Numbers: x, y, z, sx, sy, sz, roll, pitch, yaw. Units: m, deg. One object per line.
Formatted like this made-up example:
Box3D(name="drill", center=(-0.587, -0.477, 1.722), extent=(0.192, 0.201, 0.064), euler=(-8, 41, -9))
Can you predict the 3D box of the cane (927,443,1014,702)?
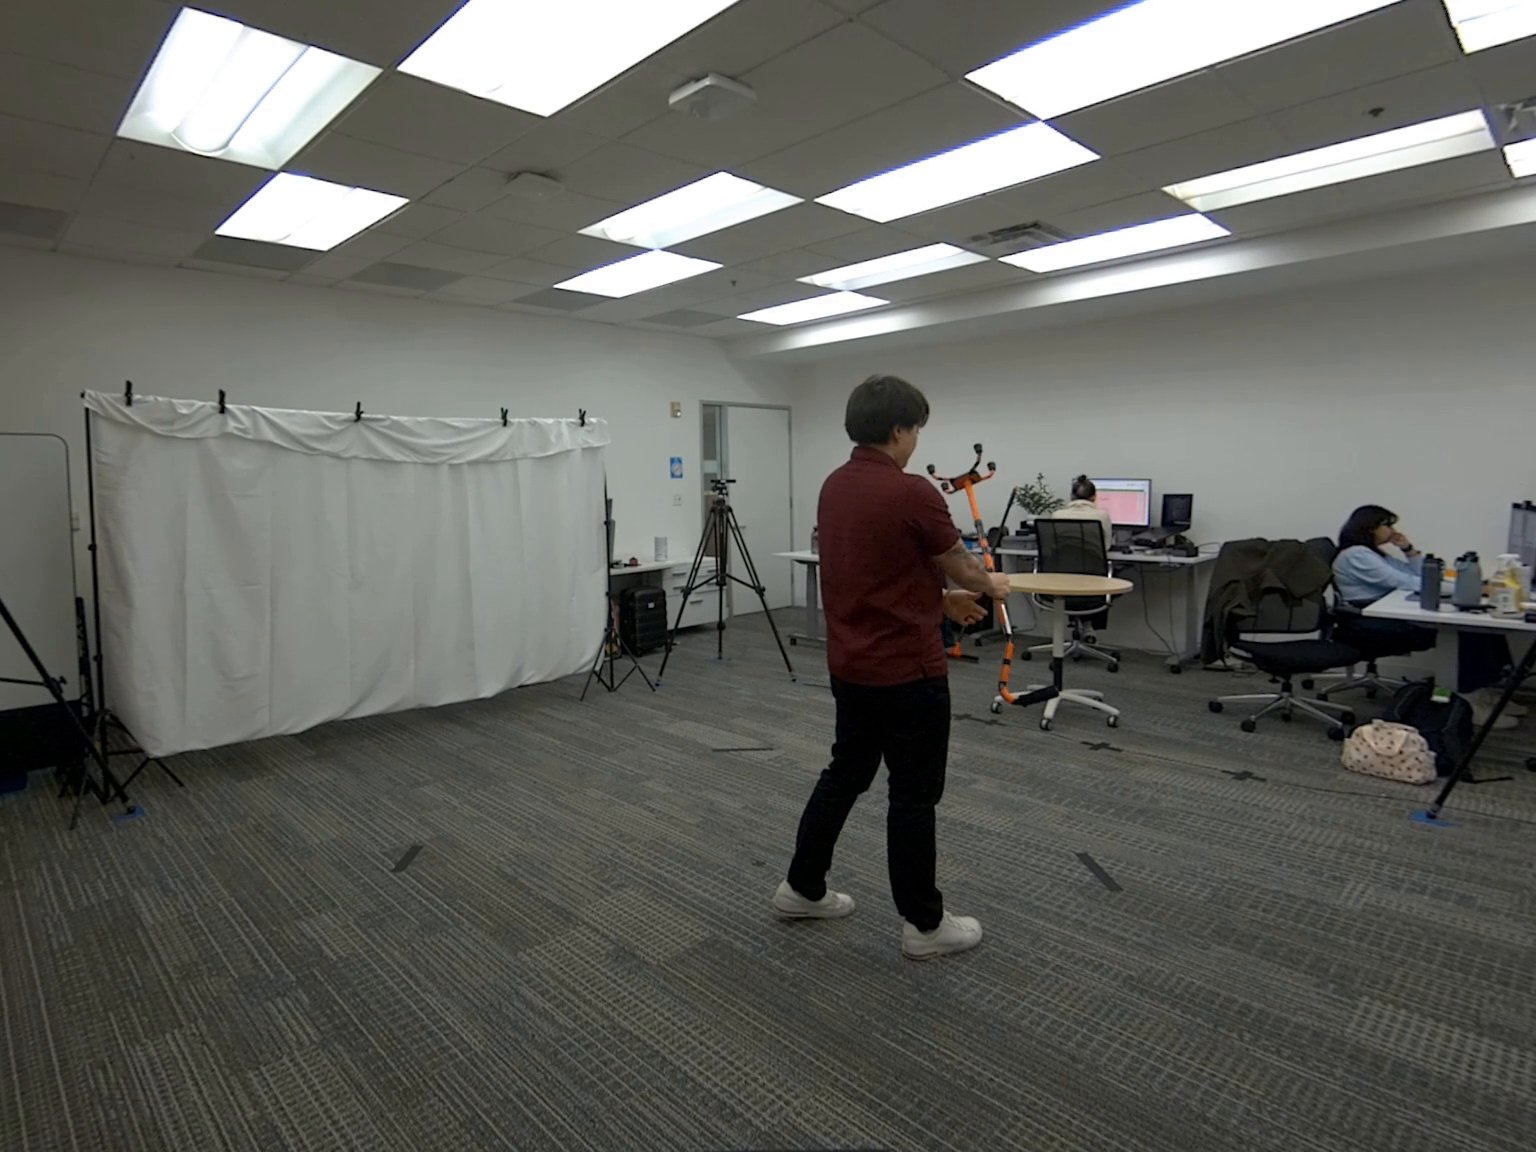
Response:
Box3D(name="cane", center=(0.708, -0.006, 2.734), extent=(0.209, 0.932, 0.146), euler=(-28, -43, 31))
